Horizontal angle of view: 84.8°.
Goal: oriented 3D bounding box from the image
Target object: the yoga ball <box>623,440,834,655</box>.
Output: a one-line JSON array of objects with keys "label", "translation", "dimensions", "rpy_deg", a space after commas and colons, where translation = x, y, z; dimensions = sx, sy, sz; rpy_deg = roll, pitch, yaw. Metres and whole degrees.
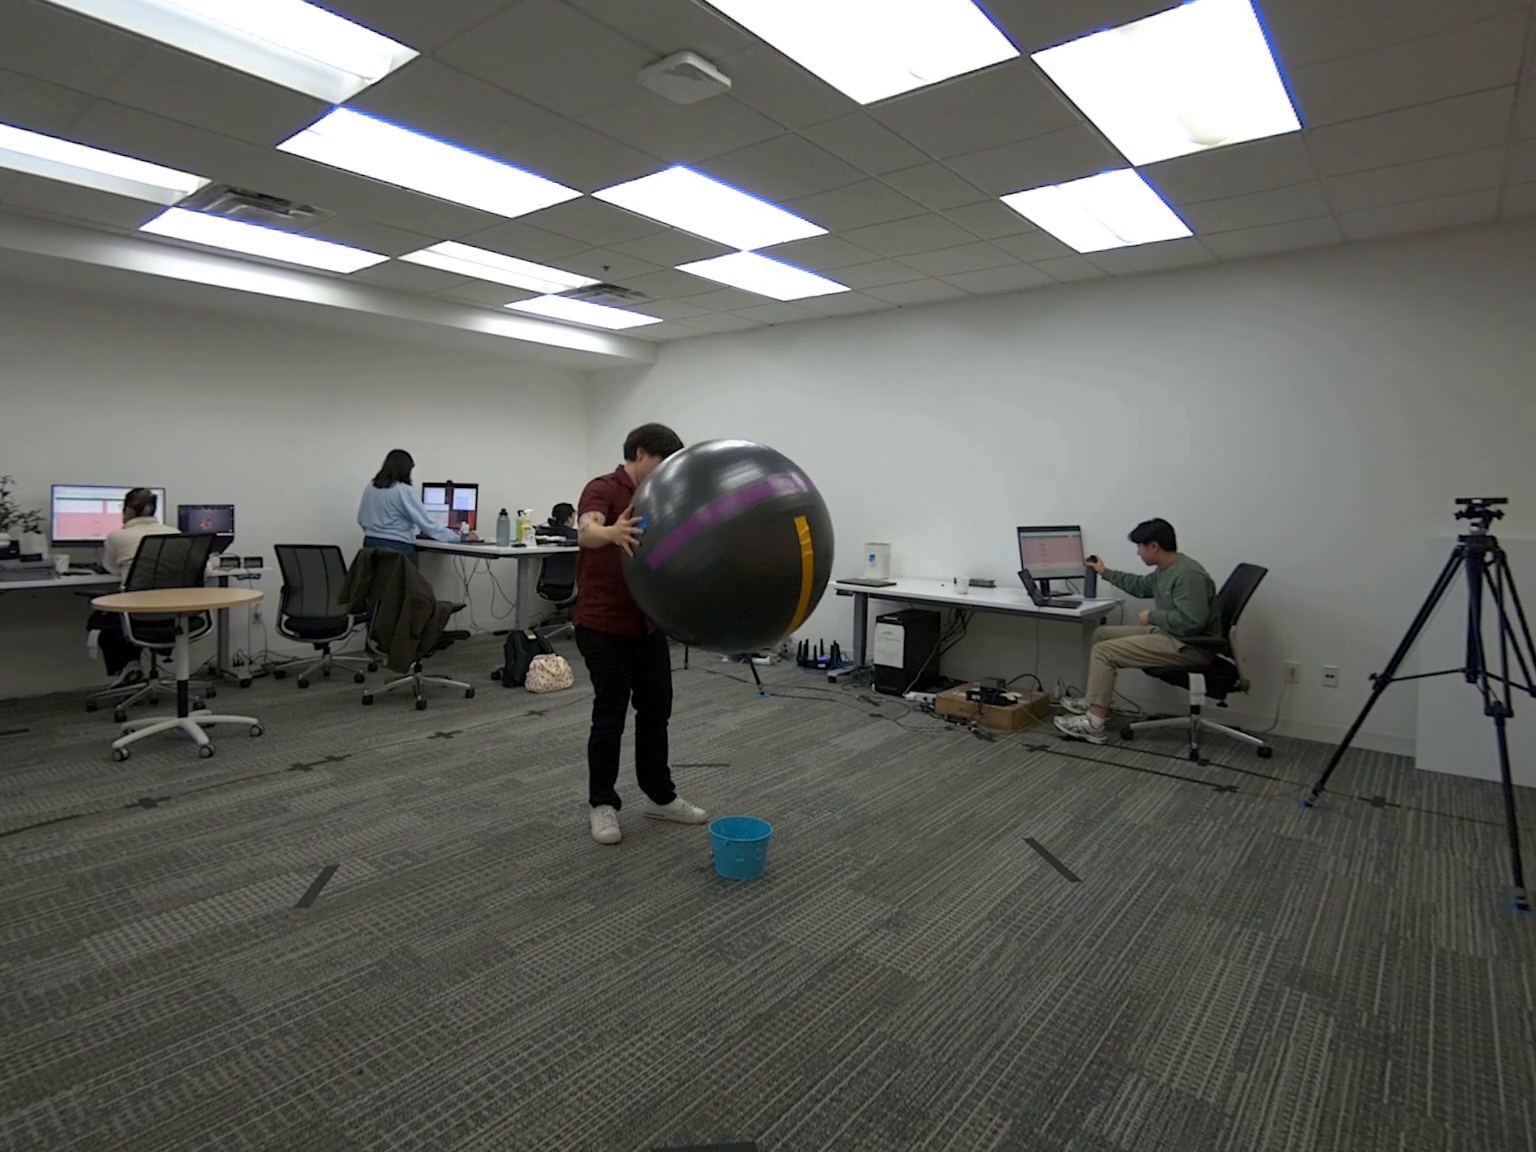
[{"label": "yoga ball", "translation": [-0.165, -0.101, 3.018], "dimensions": [0.757, 0.756, 0.762], "rpy_deg": [1, 4, -2]}]
